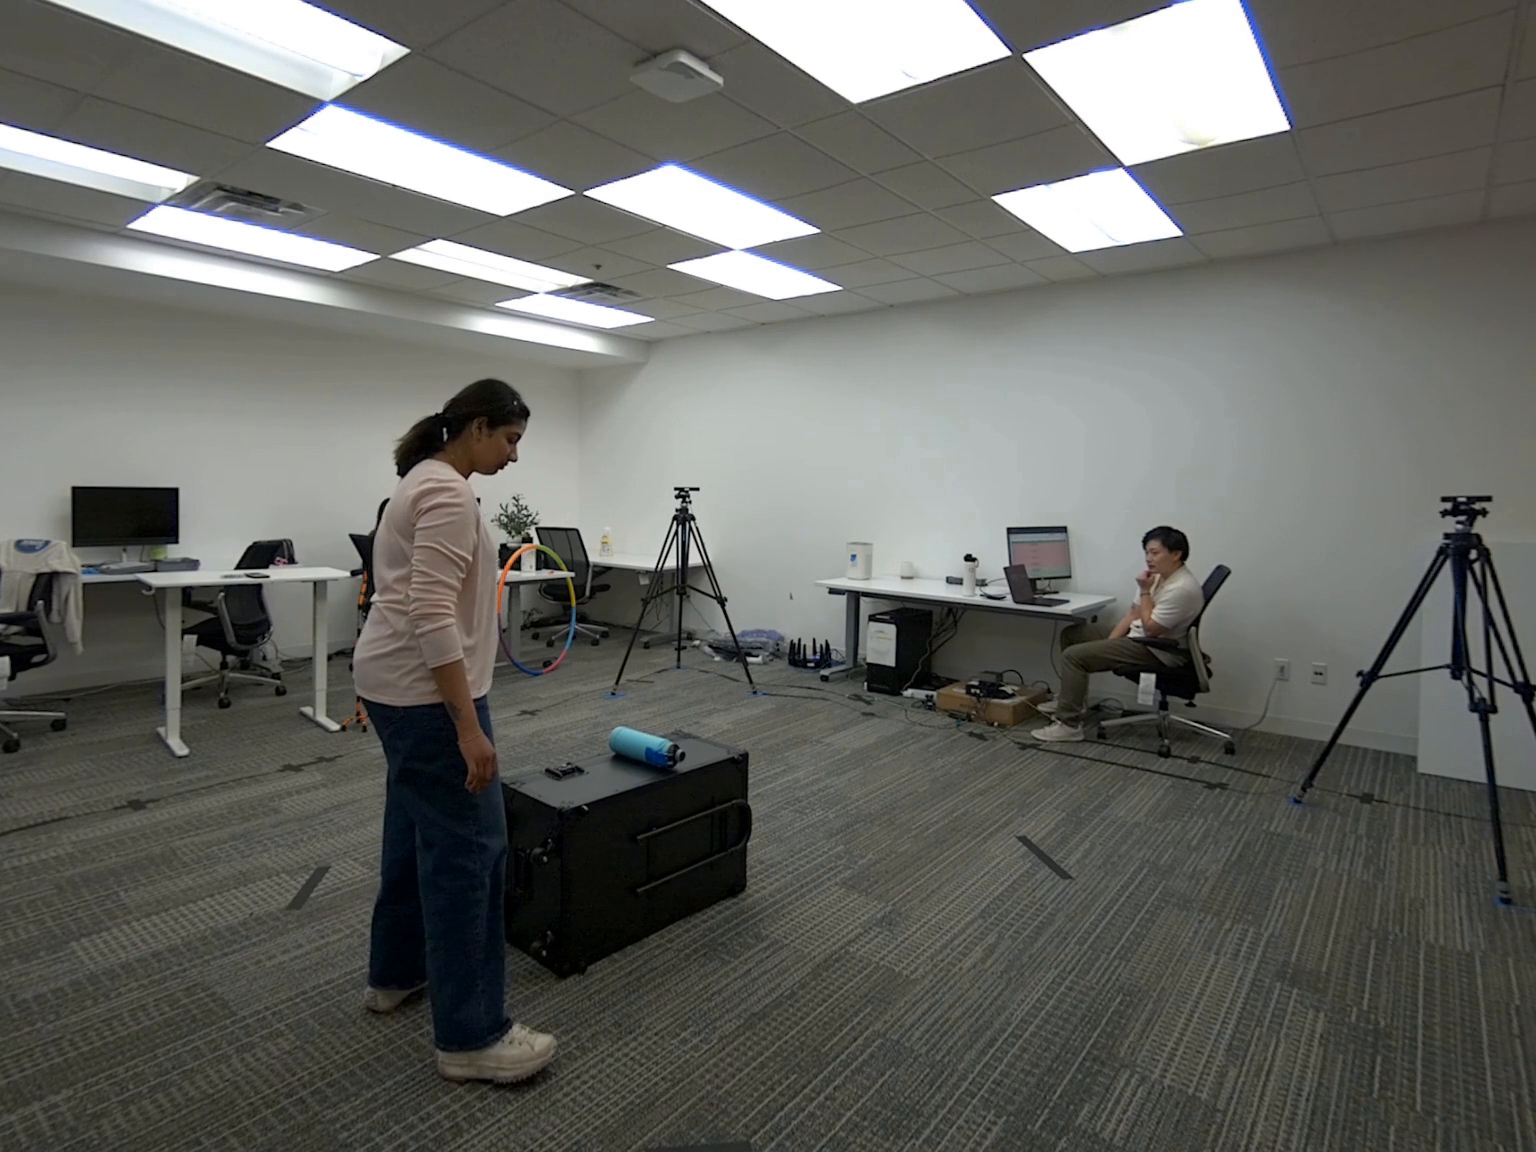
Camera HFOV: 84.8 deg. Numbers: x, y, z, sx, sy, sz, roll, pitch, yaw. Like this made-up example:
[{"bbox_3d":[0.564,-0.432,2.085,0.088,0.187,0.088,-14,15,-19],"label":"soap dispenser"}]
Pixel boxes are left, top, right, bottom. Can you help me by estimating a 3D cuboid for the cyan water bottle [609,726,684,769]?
[{"bbox_3d":[-0.407,0.562,2.807,0.293,0.092,0.089,7,7,38],"label":"cyan water bottle"}]
